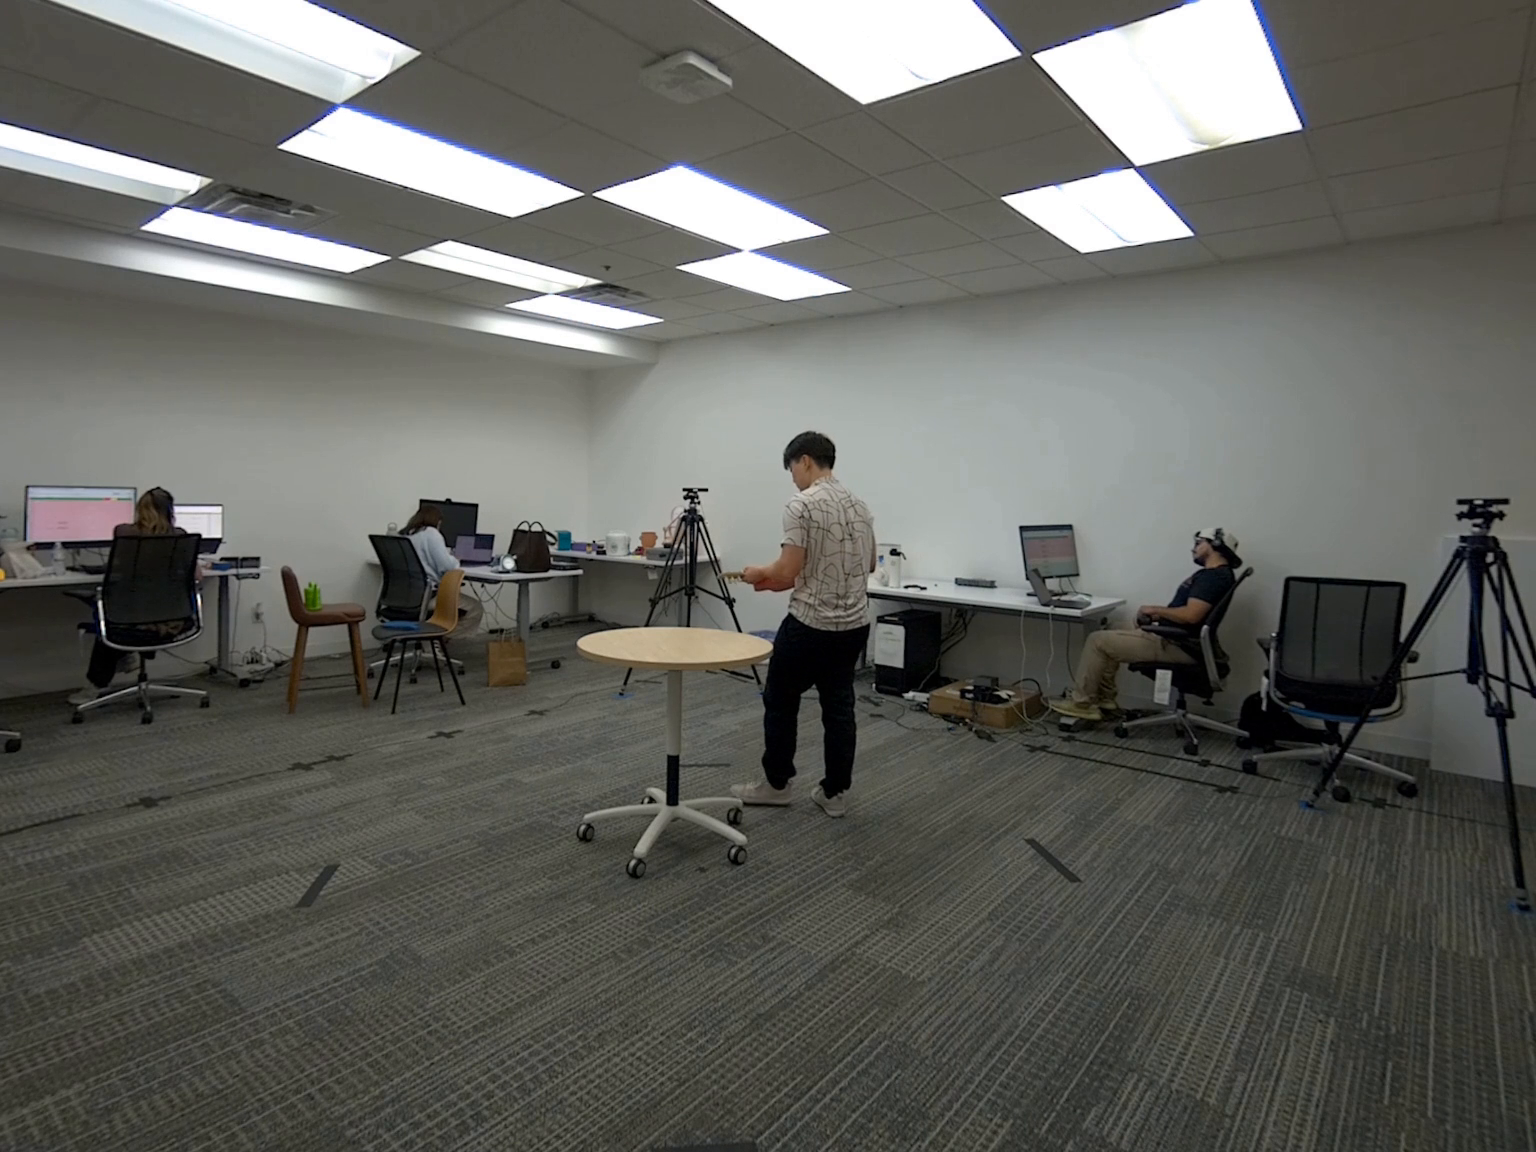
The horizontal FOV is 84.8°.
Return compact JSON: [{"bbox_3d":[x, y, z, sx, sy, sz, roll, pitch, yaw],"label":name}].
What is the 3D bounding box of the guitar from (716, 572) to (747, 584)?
[{"bbox_3d":[-0.053,0.015,3.847,0.484,0.072,0.194,-7,-18,-36],"label":"guitar"}]
